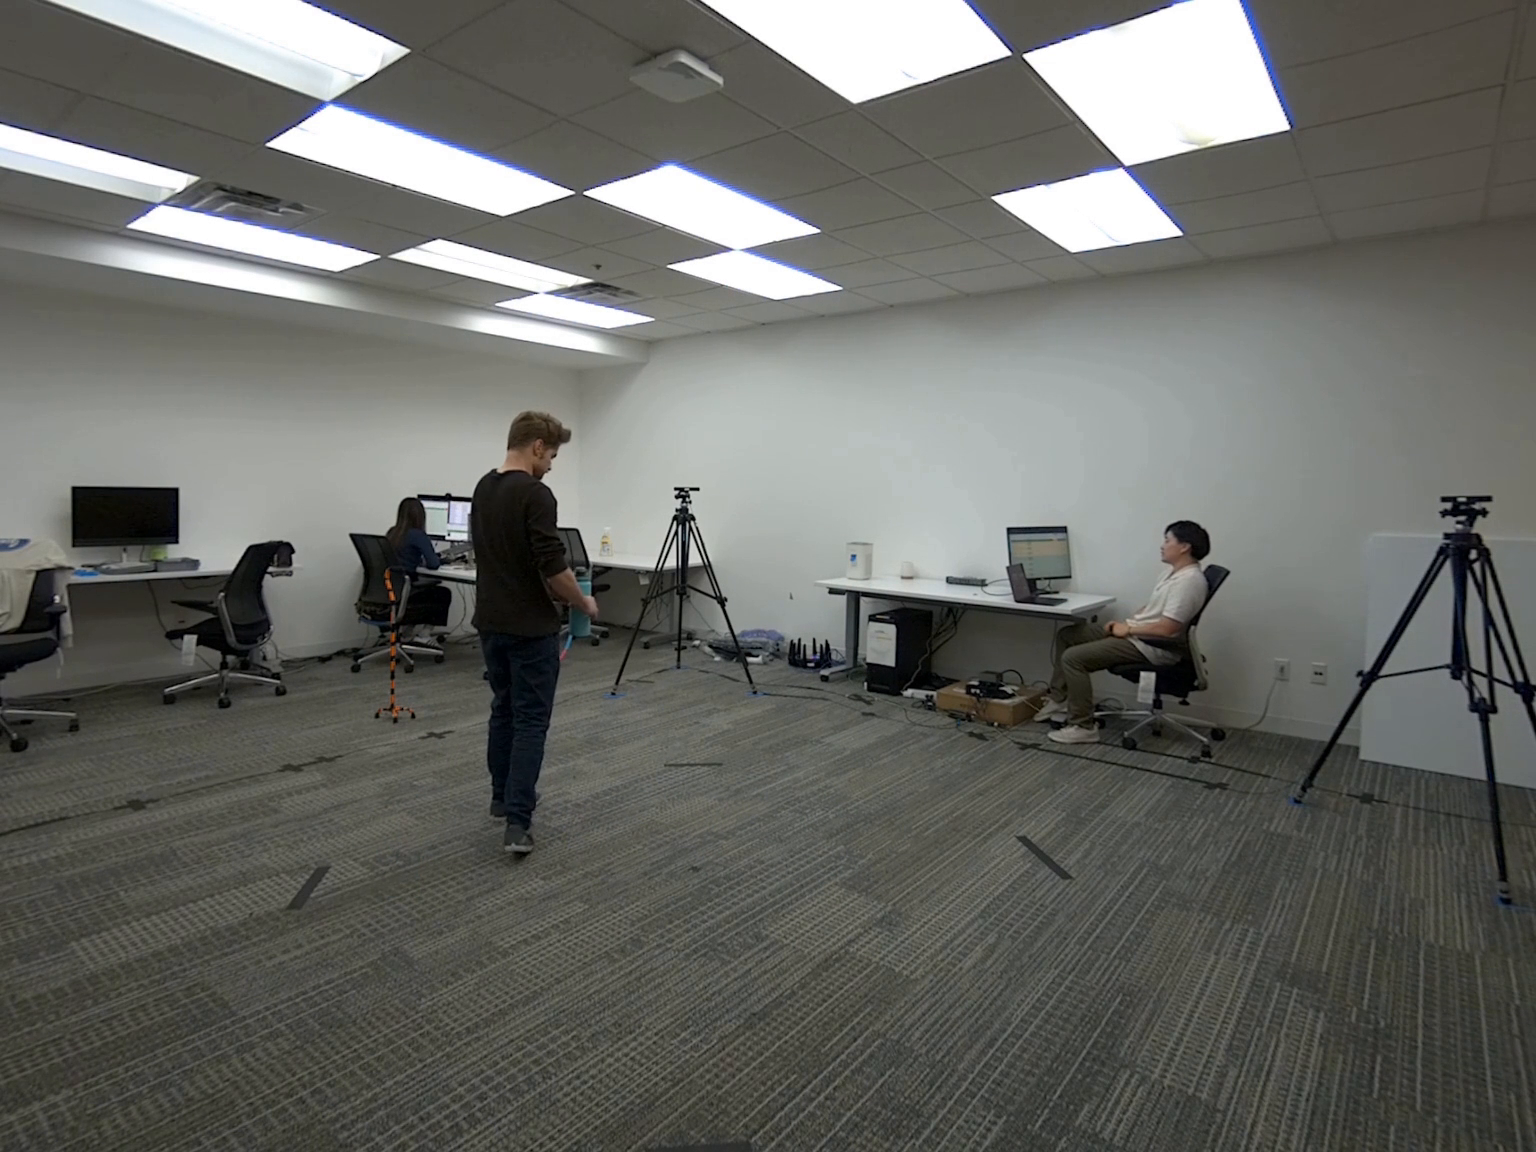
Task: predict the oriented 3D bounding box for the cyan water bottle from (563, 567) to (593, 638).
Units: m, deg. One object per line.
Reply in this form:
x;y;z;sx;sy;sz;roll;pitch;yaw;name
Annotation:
-0.815;0.109;3.562;0.092;0.284;0.092;-7;-2;-2;cyan water bottle
